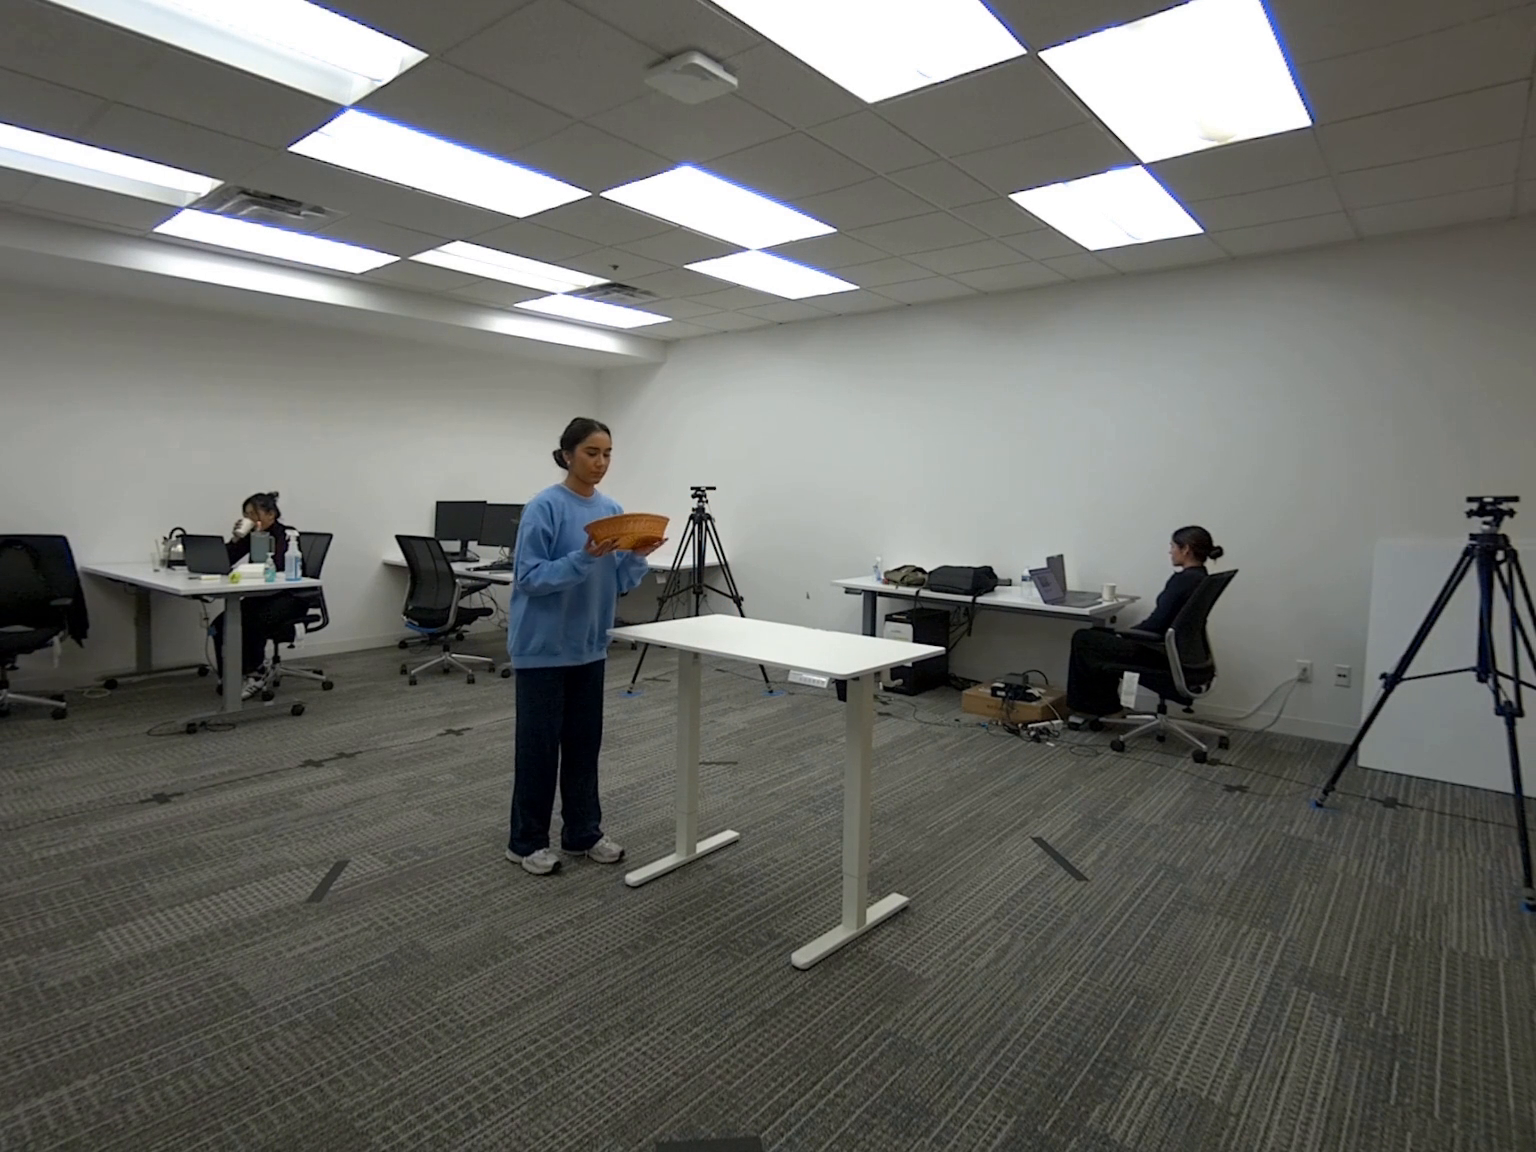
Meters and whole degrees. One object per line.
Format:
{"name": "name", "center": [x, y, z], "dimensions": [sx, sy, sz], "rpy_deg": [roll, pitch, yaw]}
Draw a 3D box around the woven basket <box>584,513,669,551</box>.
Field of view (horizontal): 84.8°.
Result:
{"name": "woven basket", "center": [-0.520, -0.146, 2.951], "dimensions": [0.257, 0.074, 0.339], "rpy_deg": [-16, -9, 35]}
